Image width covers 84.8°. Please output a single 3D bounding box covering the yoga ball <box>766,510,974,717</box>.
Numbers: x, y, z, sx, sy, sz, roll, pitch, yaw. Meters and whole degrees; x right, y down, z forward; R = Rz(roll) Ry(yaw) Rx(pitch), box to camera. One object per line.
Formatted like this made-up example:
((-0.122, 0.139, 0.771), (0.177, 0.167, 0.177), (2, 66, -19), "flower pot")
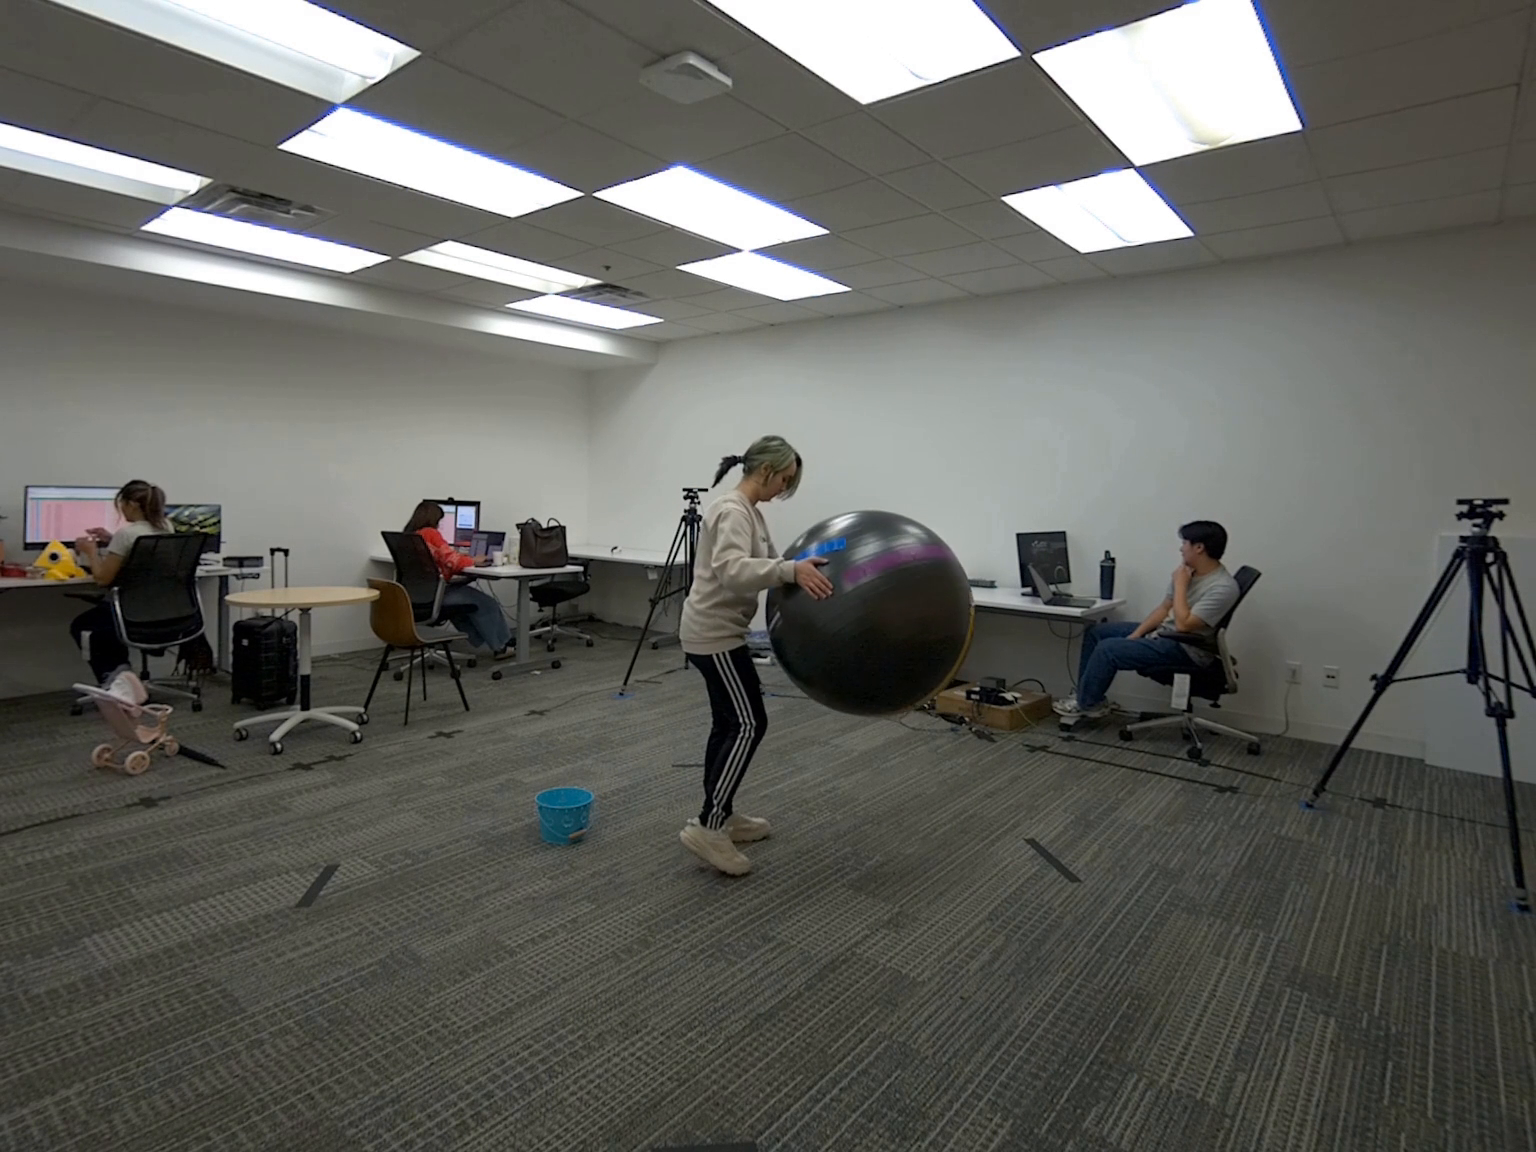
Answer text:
((0.363, 0.142, 3.151), (0.757, 0.755, 0.762), (1, 4, -2), "yoga ball")
